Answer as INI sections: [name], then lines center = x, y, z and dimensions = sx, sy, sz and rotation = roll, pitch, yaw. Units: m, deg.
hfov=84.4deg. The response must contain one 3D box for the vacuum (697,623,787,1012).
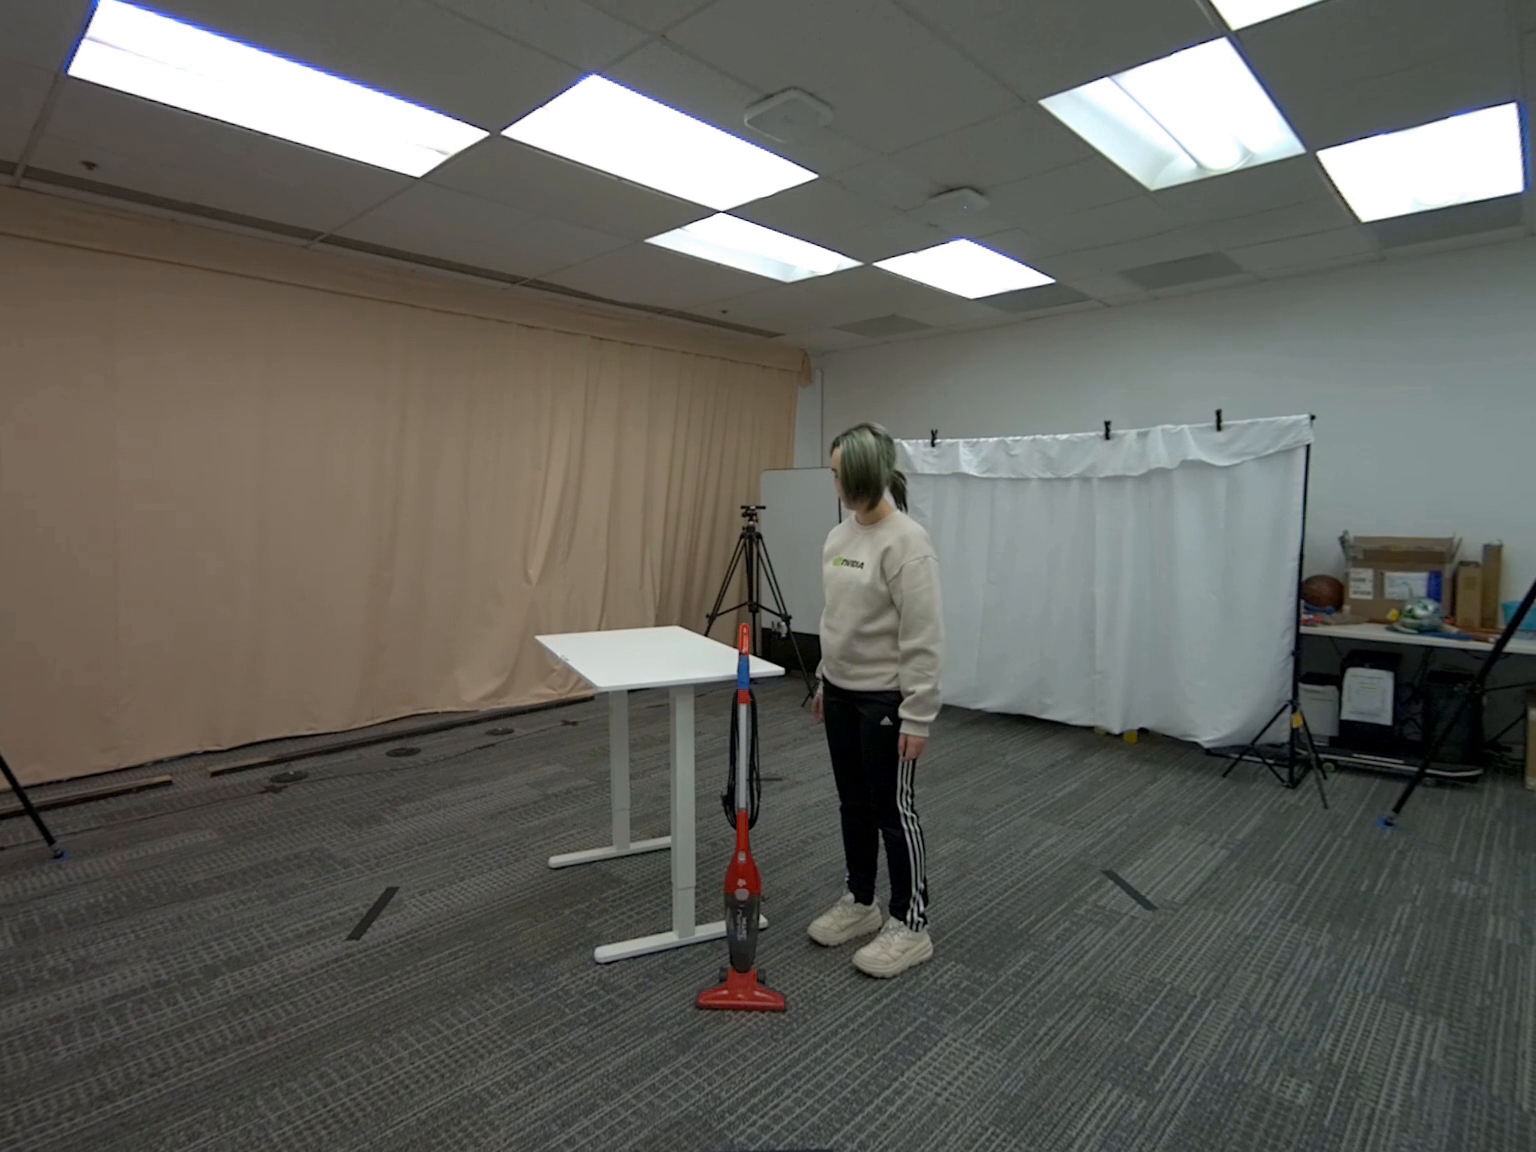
[vacuum]
center = -0.065, 0.687, 2.487
dimensions = 0.253, 1.056, 0.142
rotation = 1, -11, 2
